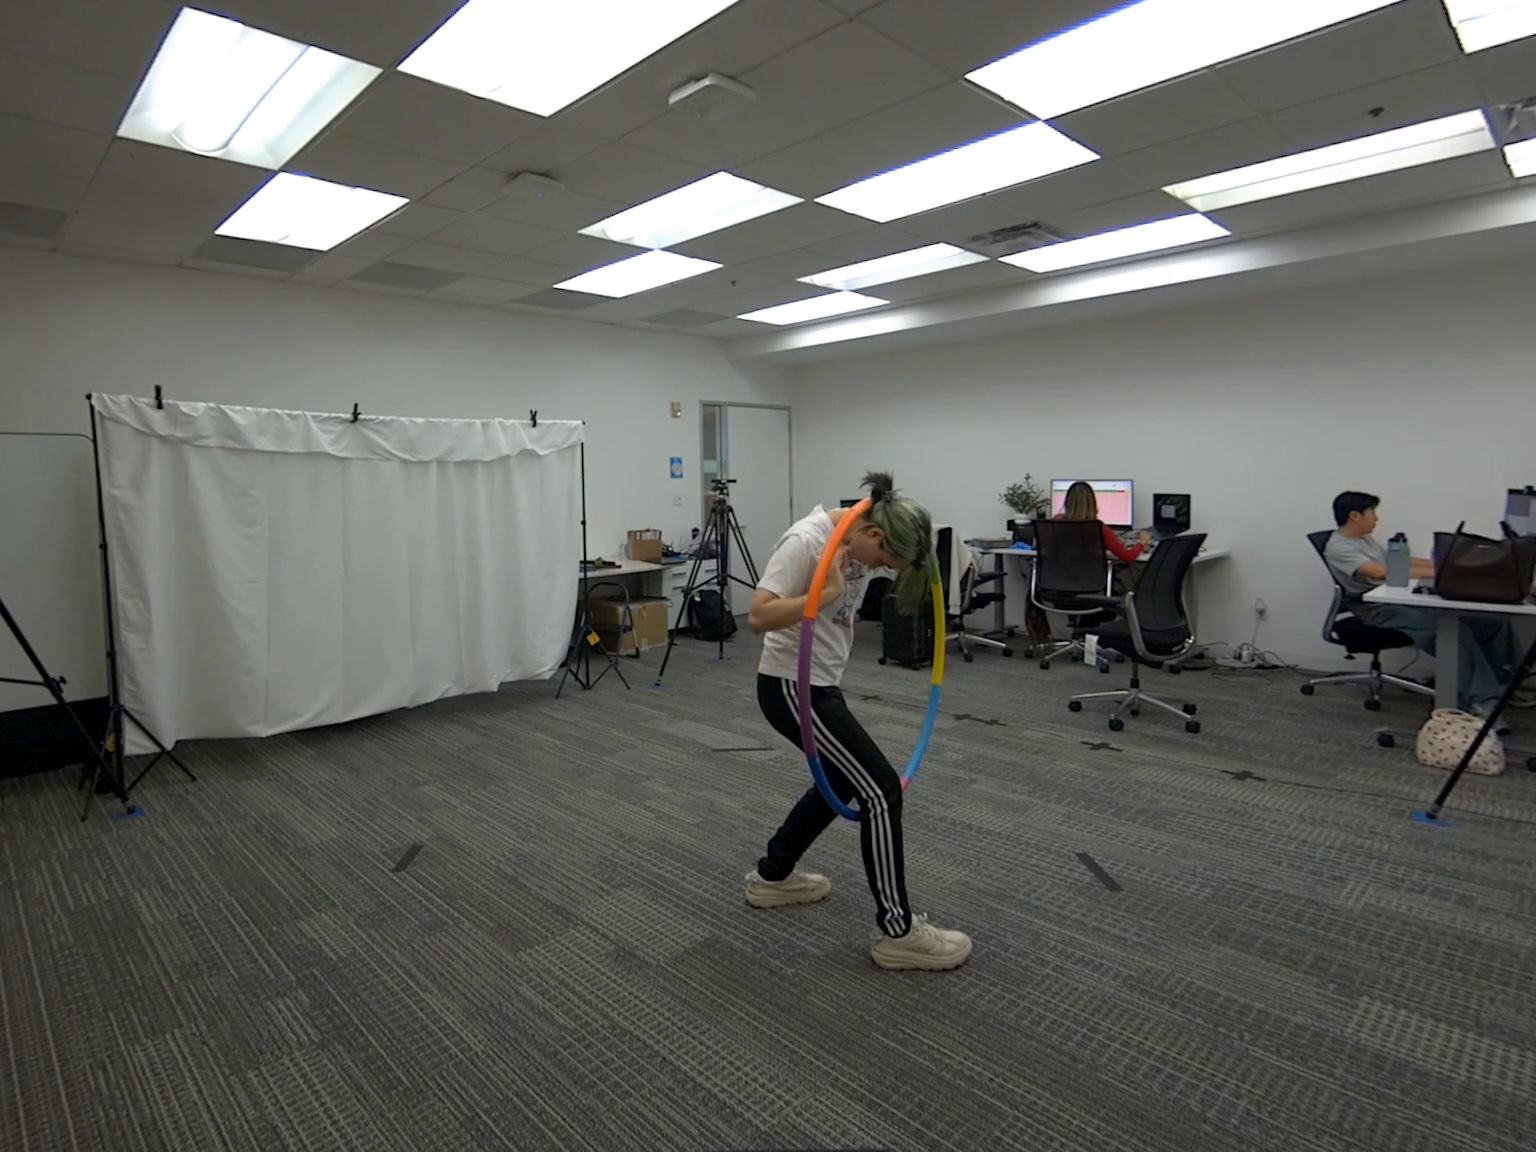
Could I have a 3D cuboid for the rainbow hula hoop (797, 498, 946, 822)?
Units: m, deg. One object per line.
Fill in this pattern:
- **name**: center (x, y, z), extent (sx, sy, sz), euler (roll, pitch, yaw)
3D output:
- **rainbow hula hoop**: center (0.335, 0.242, 2.637), extent (0.036, 0.975, 0.955), euler (2, 5, 35)
